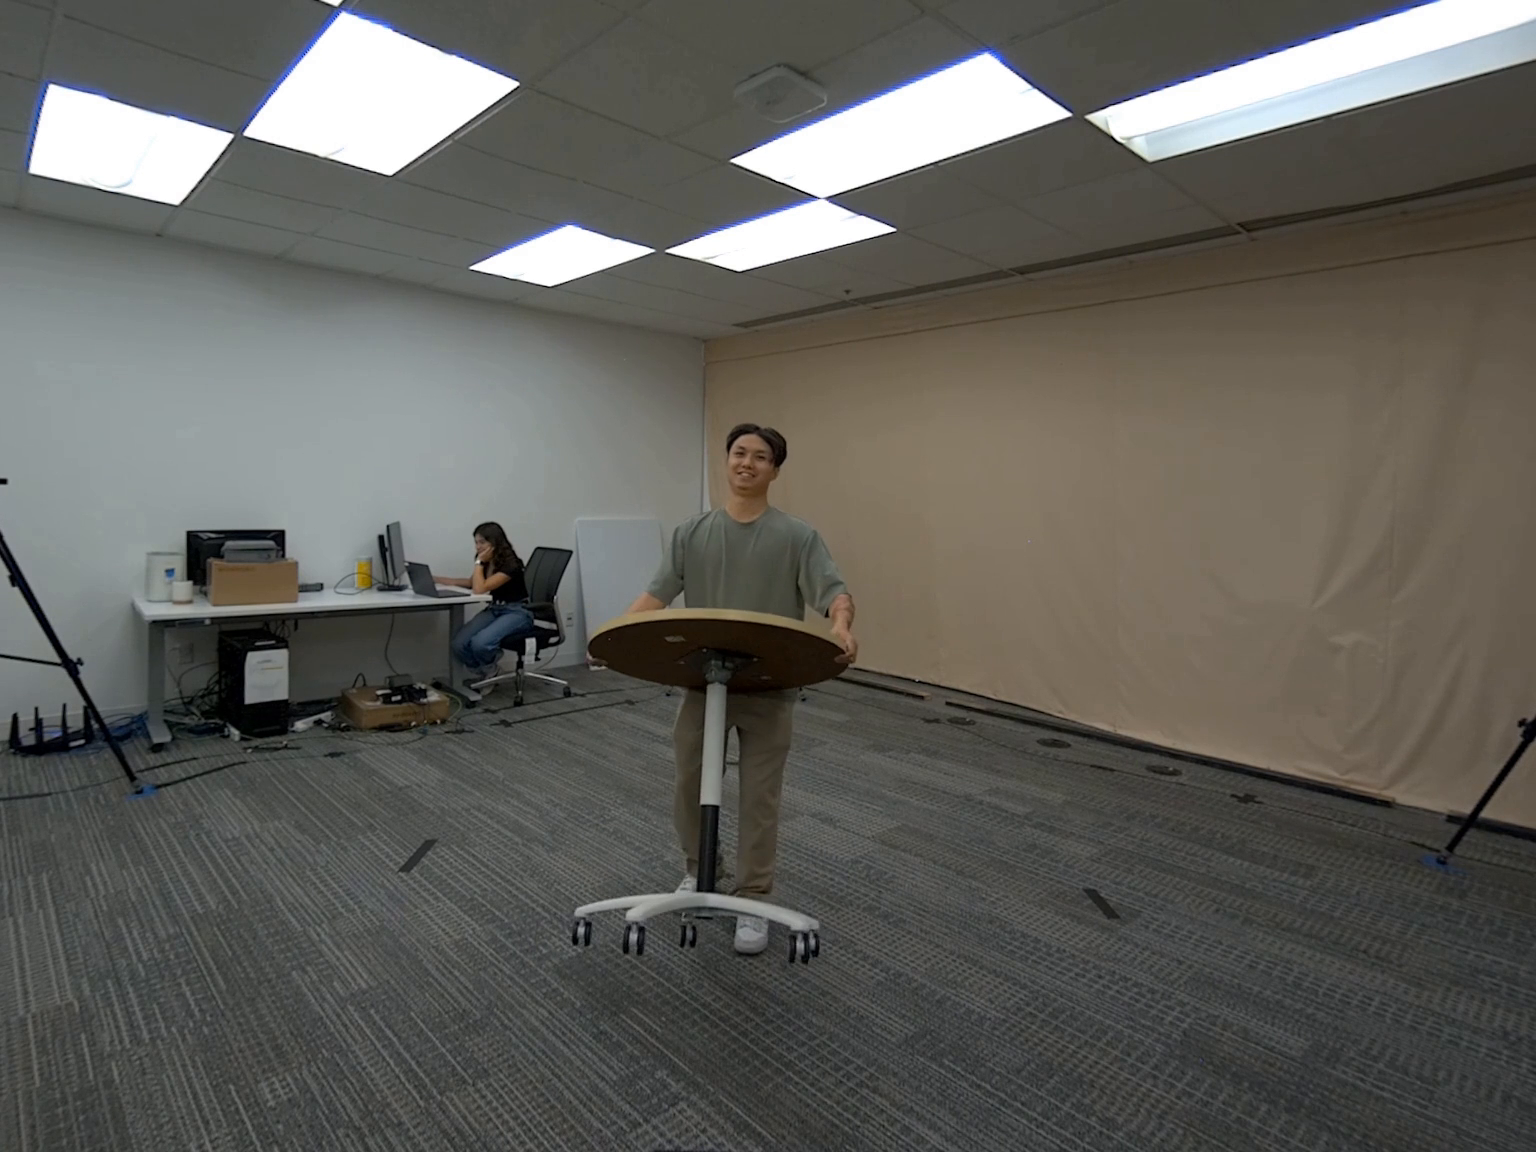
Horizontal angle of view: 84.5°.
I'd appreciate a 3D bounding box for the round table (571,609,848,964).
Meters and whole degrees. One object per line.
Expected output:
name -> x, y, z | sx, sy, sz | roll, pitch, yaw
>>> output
round table -> -0.178, 0.599, 2.325 | 0.785, 0.798, 0.773 | 3, -23, 0
